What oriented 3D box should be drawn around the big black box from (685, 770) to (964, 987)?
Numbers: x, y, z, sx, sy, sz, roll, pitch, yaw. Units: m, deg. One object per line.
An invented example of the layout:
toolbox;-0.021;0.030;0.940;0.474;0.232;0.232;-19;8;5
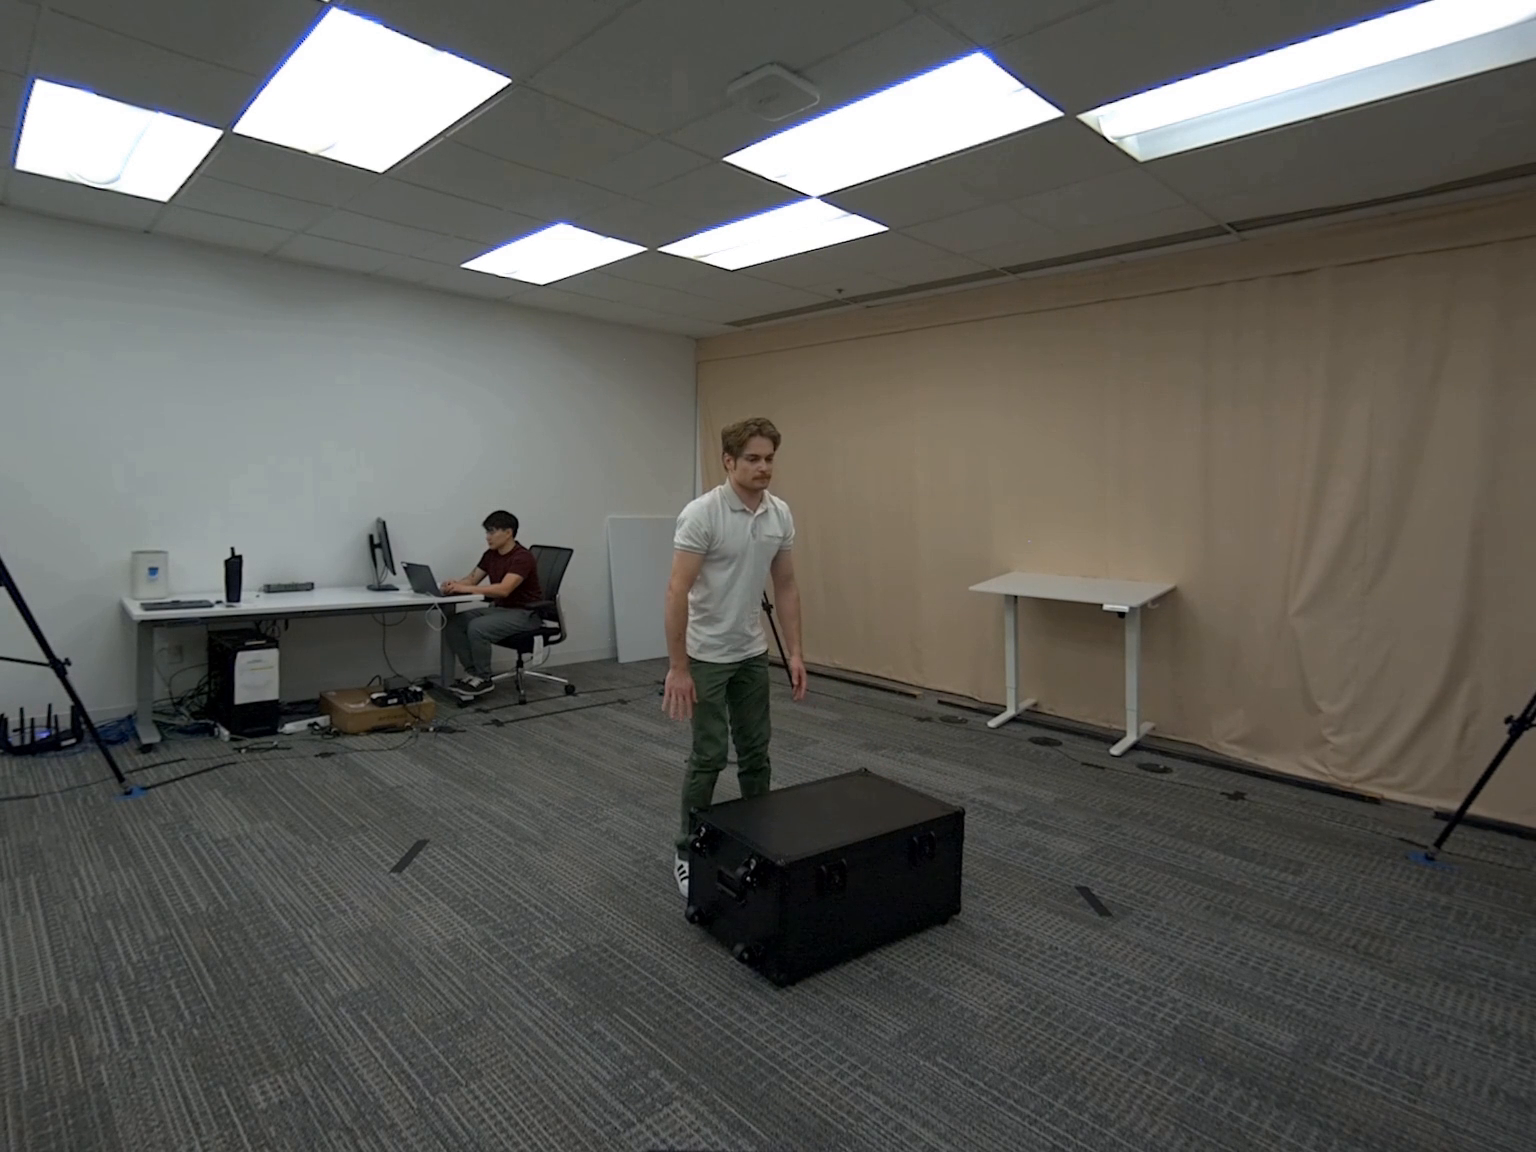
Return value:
big black box;0.157;0.945;2.756;0.850;0.384;0.537;-3;7;-36
